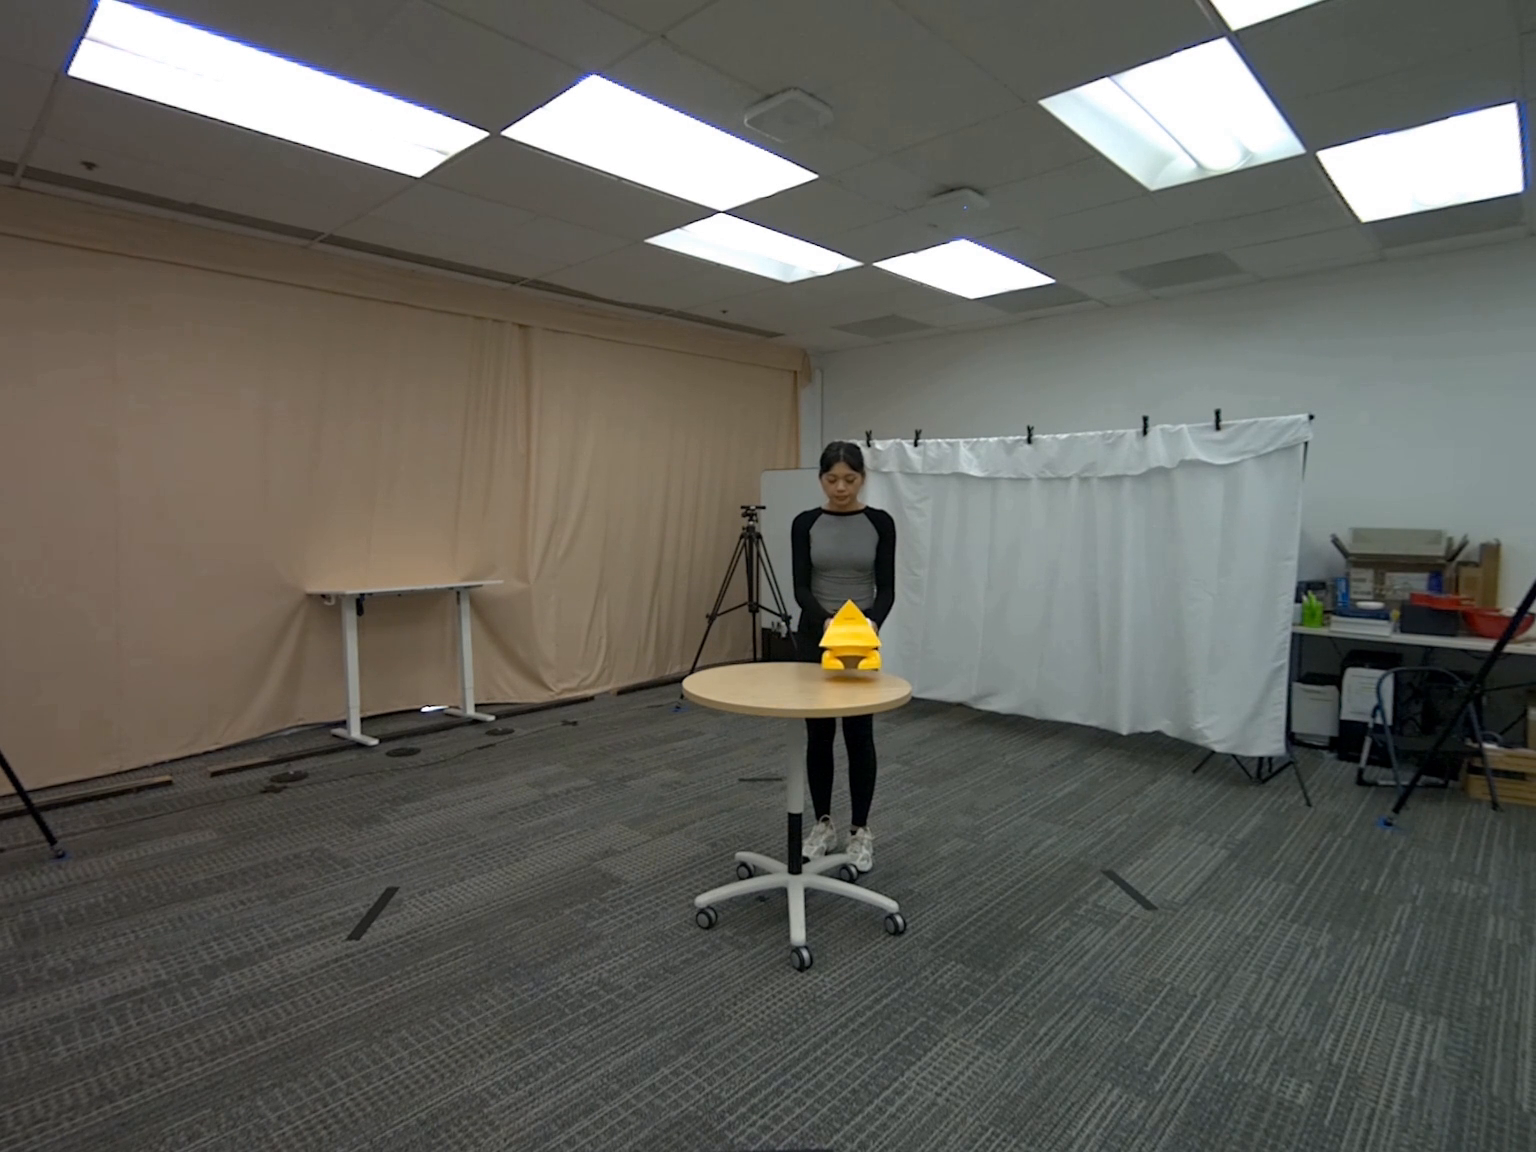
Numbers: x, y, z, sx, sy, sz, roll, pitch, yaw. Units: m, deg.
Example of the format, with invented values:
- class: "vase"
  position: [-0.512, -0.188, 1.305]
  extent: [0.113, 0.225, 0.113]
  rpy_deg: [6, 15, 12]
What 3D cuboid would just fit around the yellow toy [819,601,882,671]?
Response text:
- class: "yellow toy"
  position: [0.280, 0.200, 2.891]
  extent: [0.207, 0.231, 0.190]
  rpy_deg: [-1, -2, 11]
